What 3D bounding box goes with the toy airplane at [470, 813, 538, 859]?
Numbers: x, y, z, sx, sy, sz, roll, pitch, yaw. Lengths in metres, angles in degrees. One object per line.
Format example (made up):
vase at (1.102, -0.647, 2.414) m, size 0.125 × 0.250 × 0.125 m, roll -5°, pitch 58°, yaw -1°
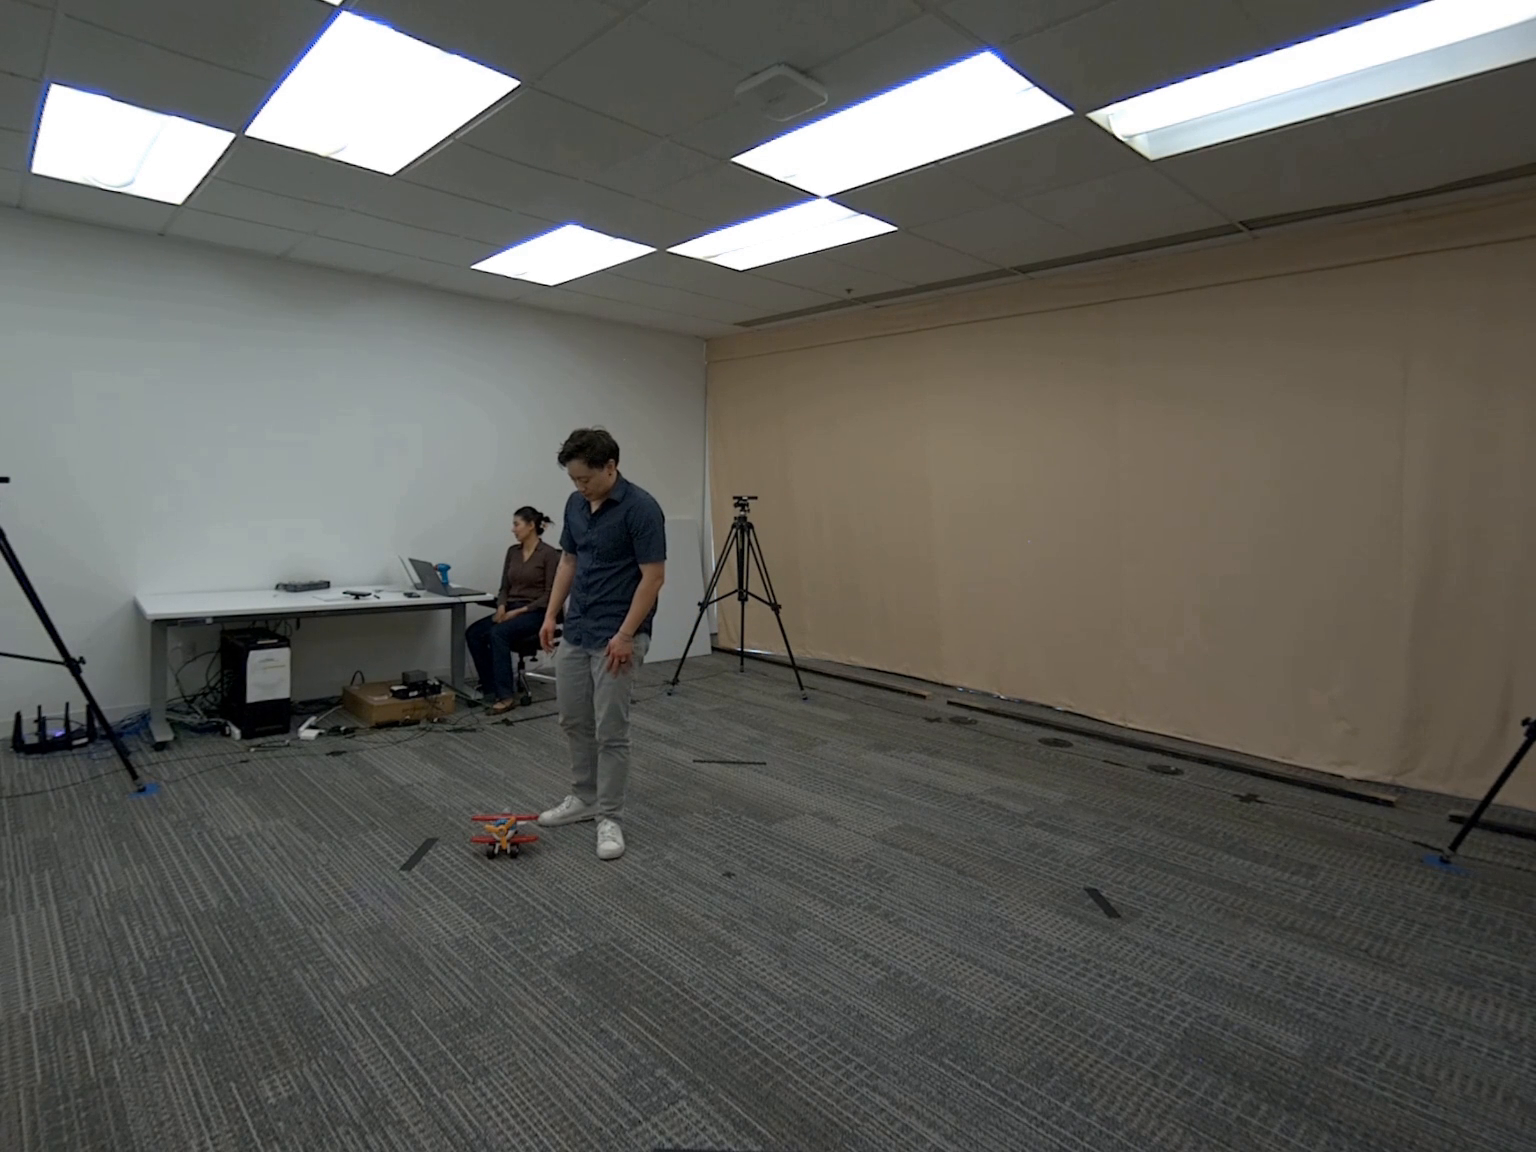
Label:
toy airplane at (-1.044, 0.993, 3.286) m, size 0.246 × 0.156 × 0.265 m, roll -2°, pitch 5°, yaw -35°
